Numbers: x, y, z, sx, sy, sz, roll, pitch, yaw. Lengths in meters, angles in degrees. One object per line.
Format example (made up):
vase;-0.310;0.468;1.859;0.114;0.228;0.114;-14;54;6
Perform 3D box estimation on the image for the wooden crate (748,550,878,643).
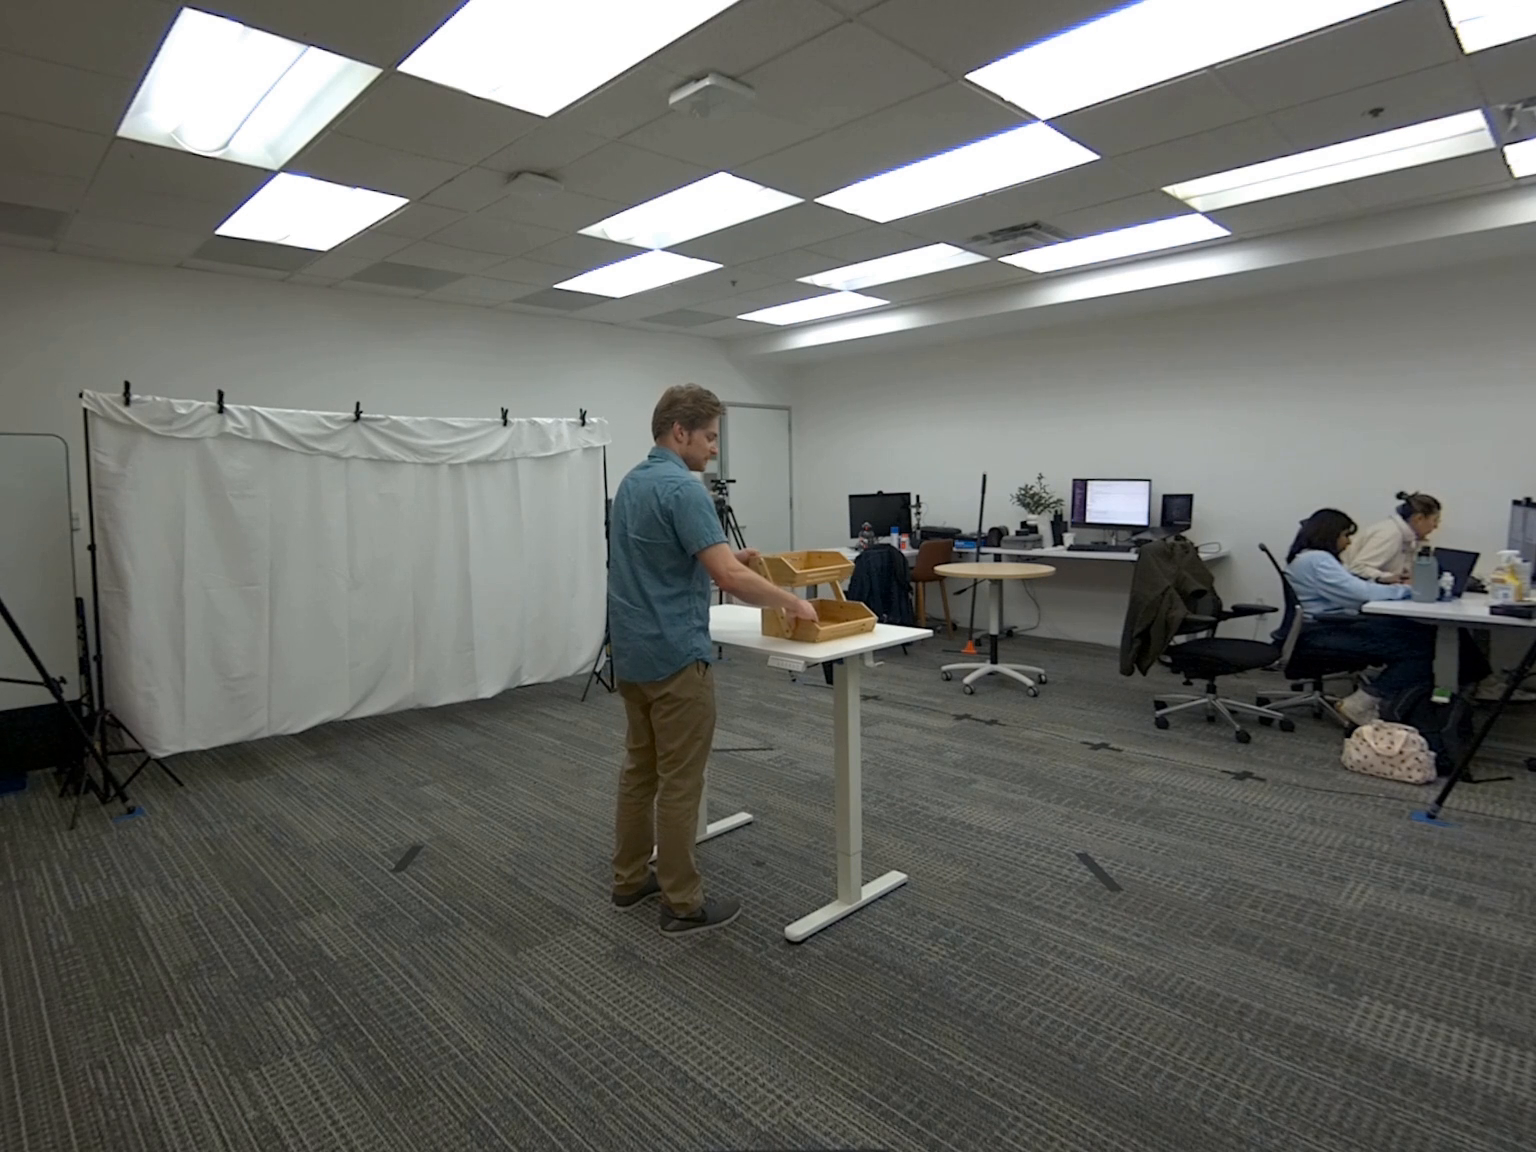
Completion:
wooden crate;0.154;0.056;2.840;0.311;0.272;0.316;3;6;44
